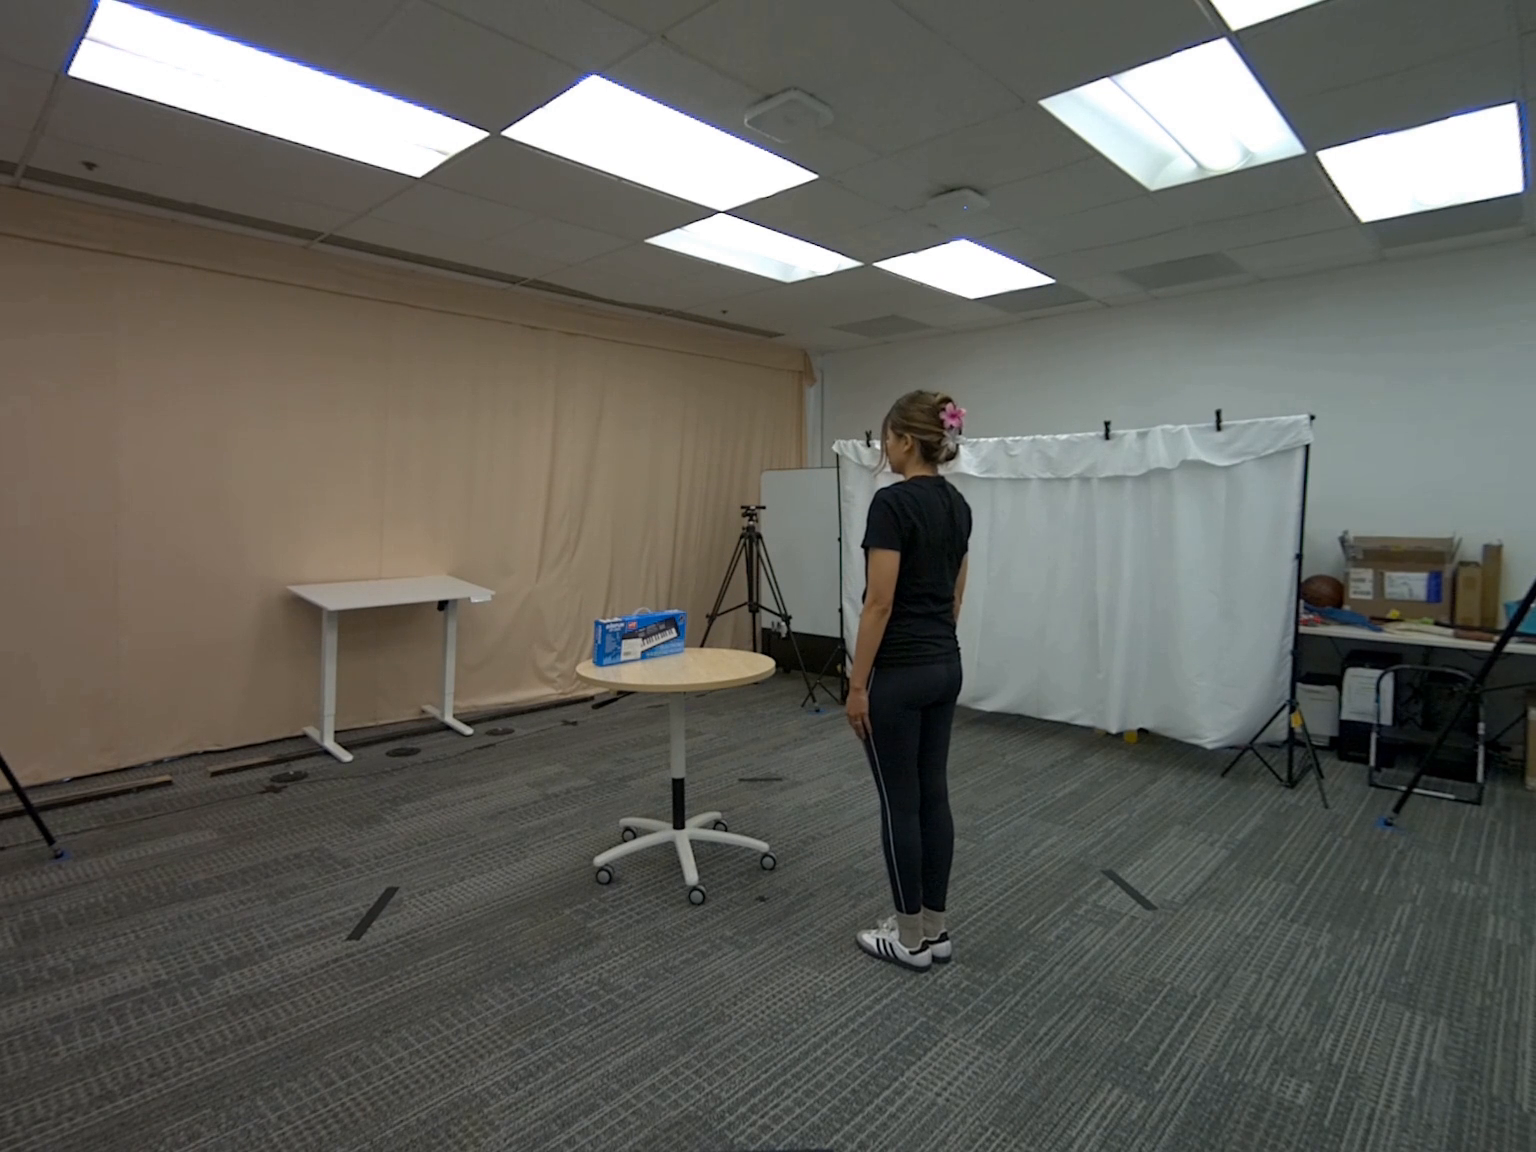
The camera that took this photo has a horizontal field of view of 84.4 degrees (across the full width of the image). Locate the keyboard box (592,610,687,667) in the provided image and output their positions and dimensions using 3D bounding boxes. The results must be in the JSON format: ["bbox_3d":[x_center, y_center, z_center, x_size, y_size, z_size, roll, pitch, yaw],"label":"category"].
[{"bbox_3d":[-0.509,0.246,3.387,0.061,0.175,0.424,9,10,41],"label":"keyboard box"}]
